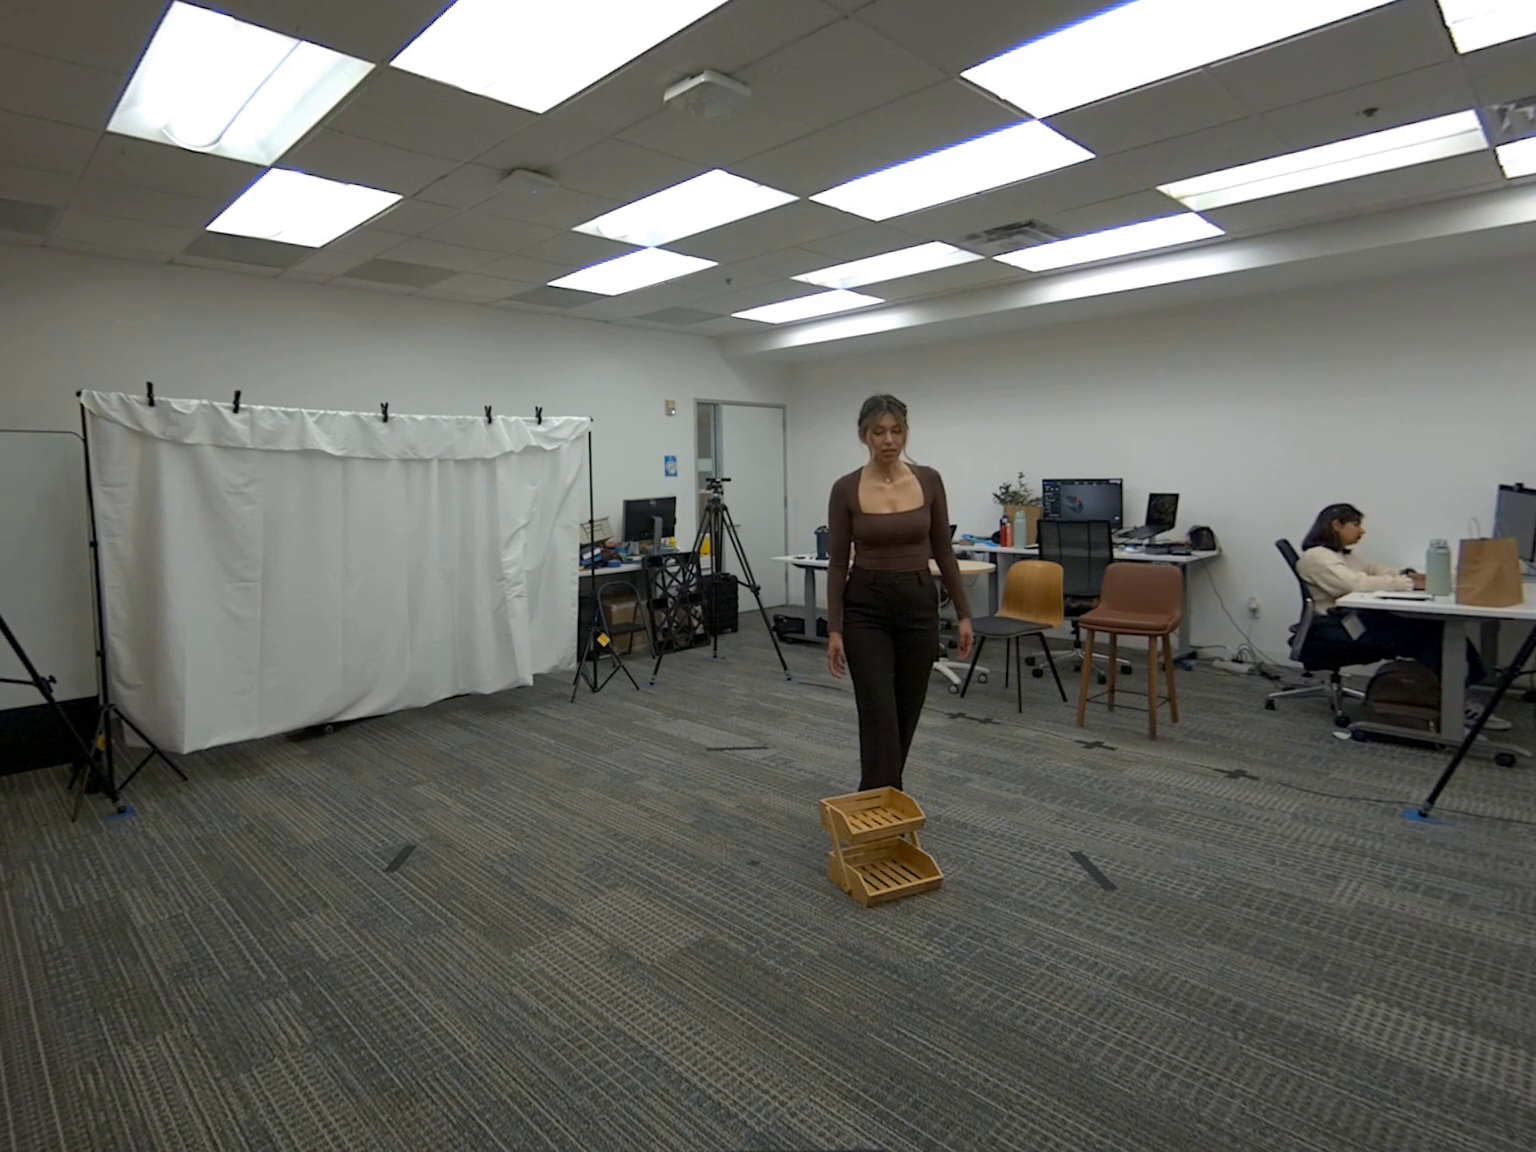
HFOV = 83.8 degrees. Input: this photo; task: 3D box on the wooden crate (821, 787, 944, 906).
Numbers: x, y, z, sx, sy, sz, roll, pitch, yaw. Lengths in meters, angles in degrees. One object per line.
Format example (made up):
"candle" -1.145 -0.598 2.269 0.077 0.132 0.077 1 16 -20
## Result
"wooden crate" 0.393 0.923 2.935 0.318 0.272 0.309 -3 5 -25
